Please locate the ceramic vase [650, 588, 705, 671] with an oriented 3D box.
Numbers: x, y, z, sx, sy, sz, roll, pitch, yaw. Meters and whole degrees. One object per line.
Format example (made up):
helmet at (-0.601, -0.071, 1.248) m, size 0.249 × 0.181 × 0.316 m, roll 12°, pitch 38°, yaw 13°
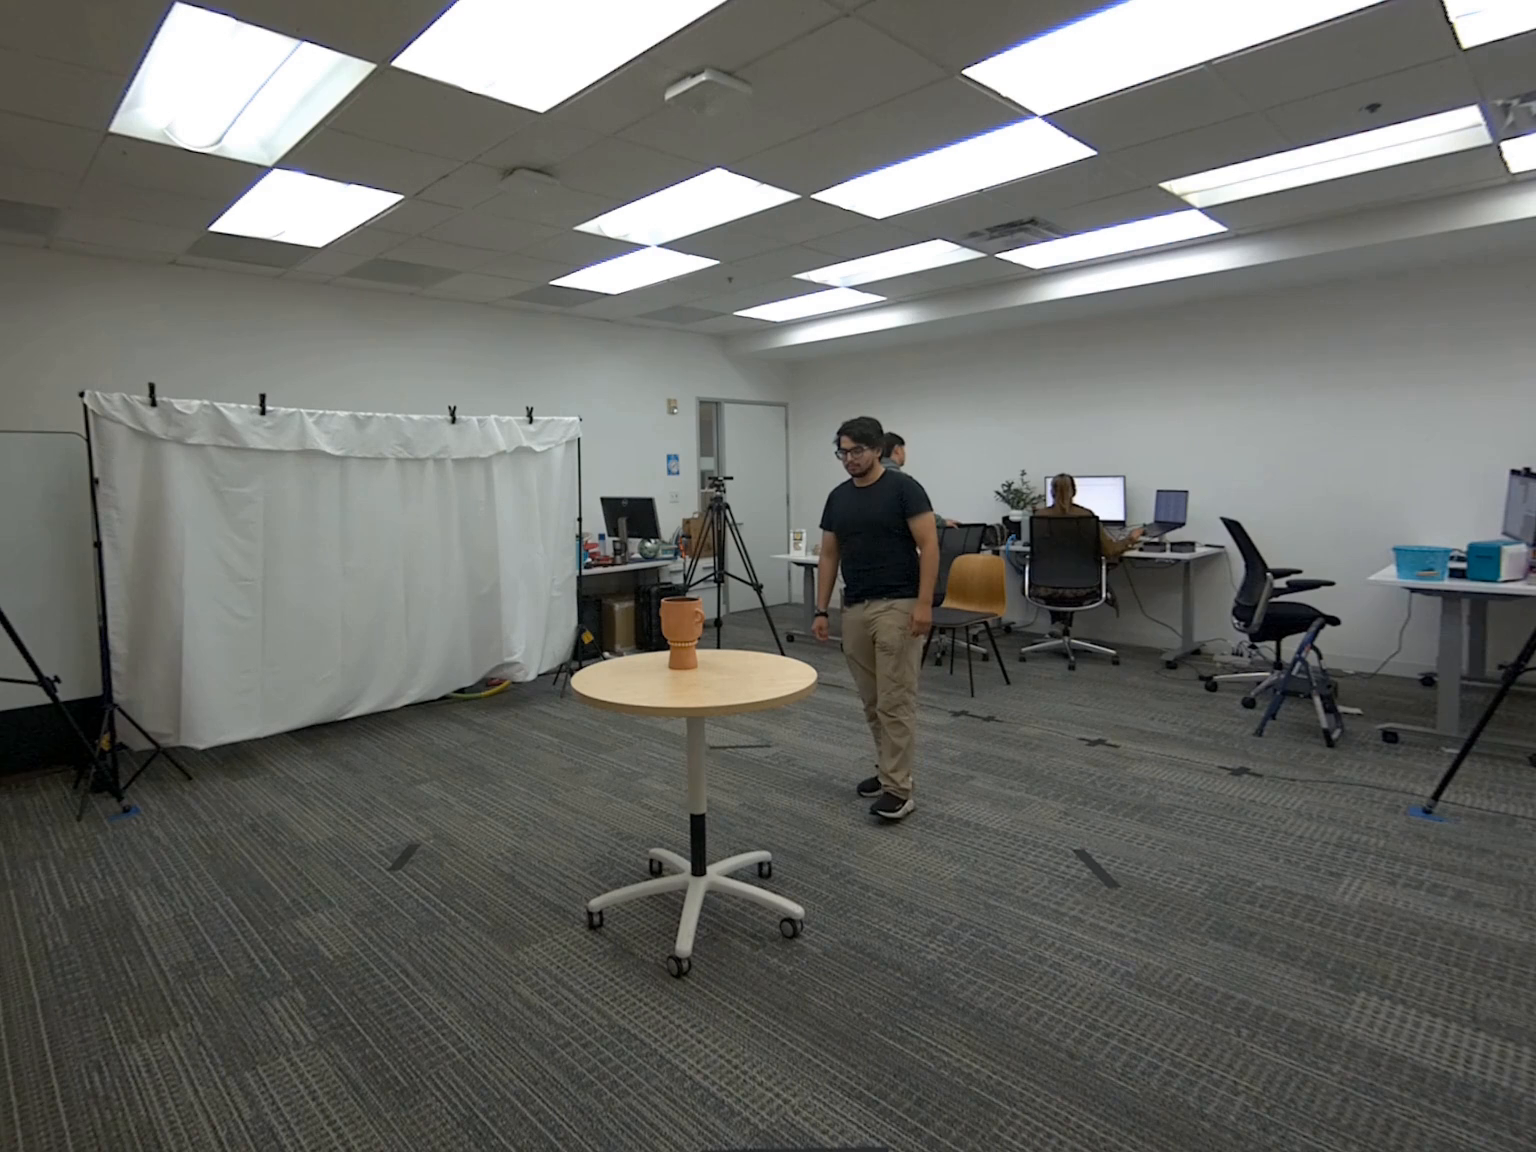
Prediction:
ceramic vase at (-0.279, 0.189, 2.778) m, size 0.133 × 0.219 × 0.161 m, roll -2°, pitch 4°, yaw -10°
